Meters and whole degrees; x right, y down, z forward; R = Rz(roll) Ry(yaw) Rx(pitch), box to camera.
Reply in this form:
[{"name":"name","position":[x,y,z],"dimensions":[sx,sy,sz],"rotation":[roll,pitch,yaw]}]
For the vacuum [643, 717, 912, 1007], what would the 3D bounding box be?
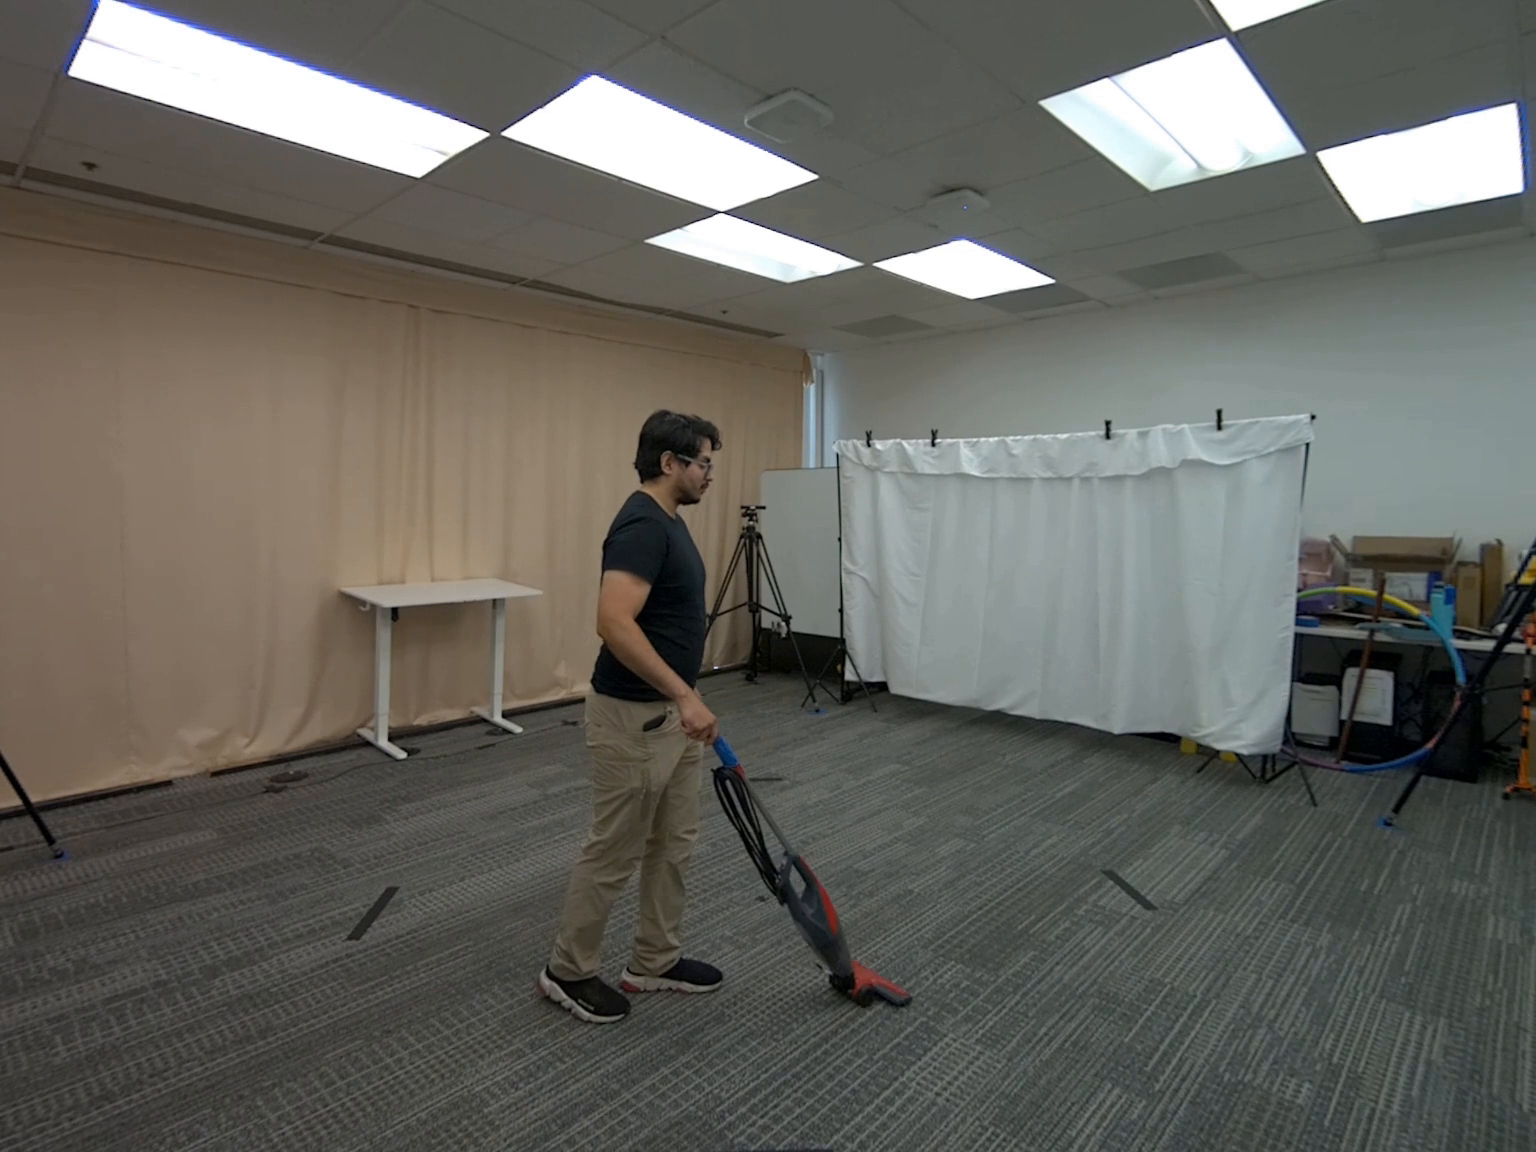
[{"name":"vacuum","position":[0.043,0.776,2.223],"dimensions":[0.143,1.026,0.260],"rotation":[-43,25,-29]}]
